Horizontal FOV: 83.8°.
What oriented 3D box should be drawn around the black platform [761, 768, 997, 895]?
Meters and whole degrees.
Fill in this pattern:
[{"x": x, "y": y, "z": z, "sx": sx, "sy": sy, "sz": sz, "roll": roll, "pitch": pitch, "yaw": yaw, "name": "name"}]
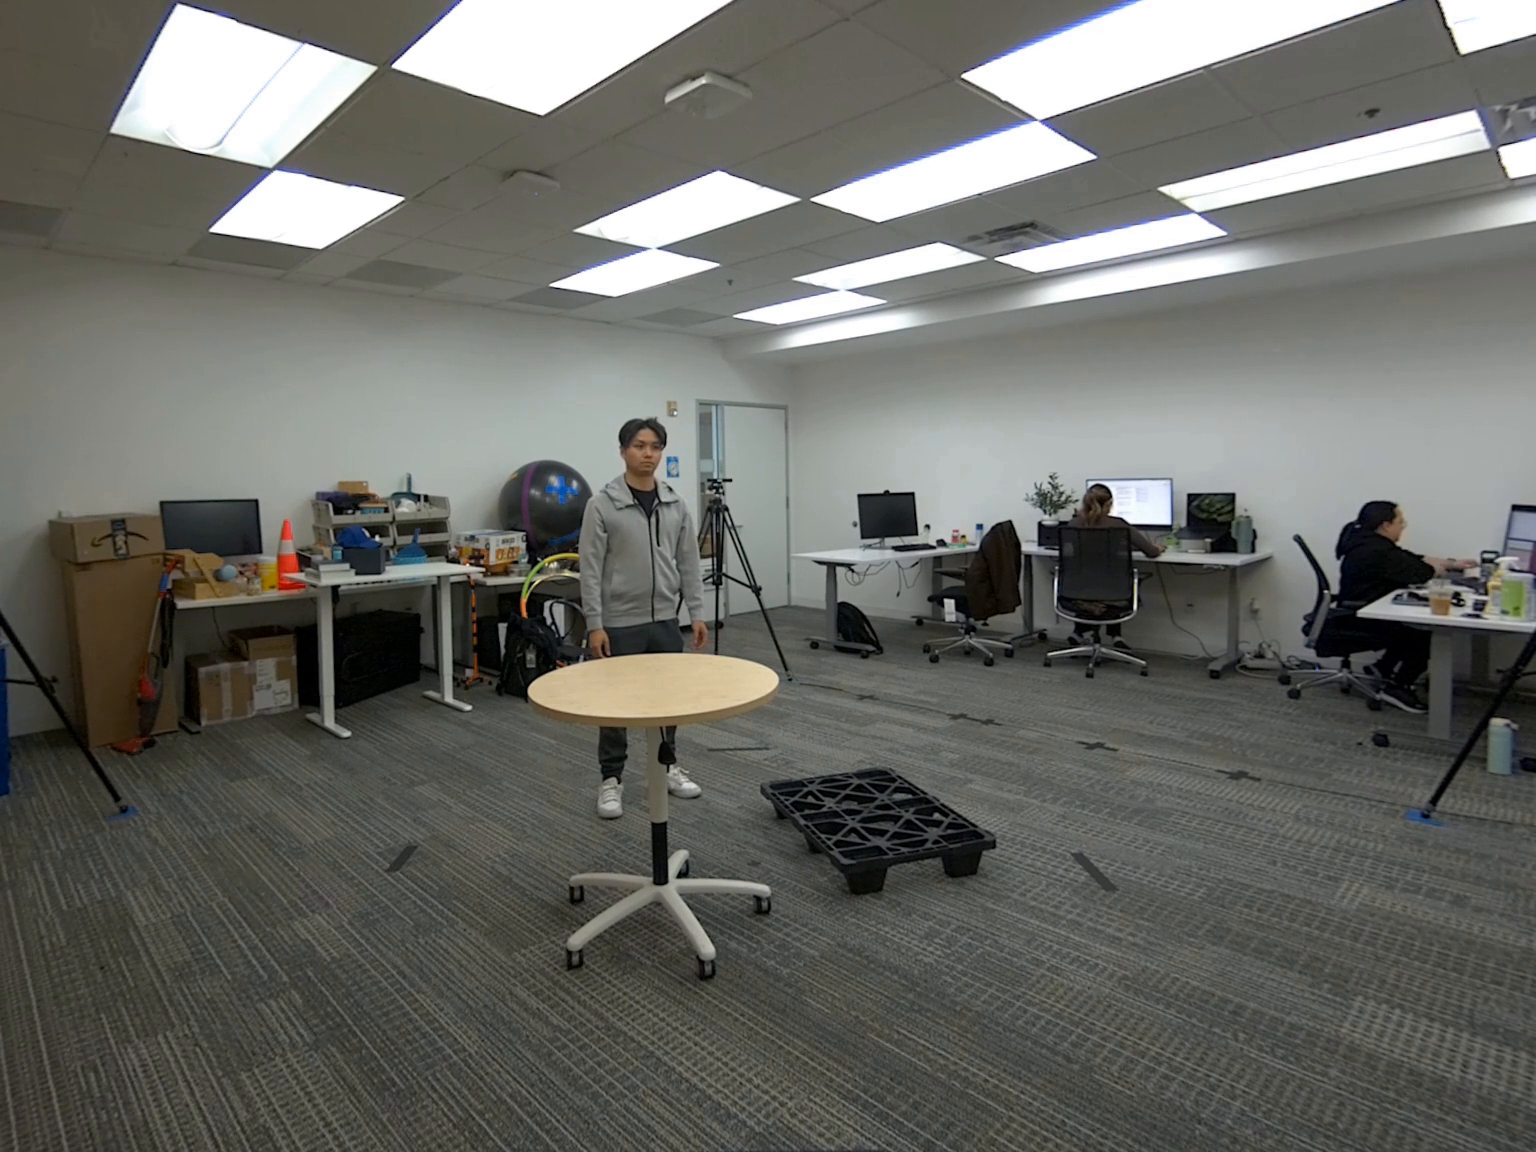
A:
[{"x": 0.383, "y": 0.953, "z": 3.259, "sx": 0.595, "sy": 0.142, "sz": 0.822, "roll": -4, "pitch": 7, "yaw": -19, "name": "black platform"}]
